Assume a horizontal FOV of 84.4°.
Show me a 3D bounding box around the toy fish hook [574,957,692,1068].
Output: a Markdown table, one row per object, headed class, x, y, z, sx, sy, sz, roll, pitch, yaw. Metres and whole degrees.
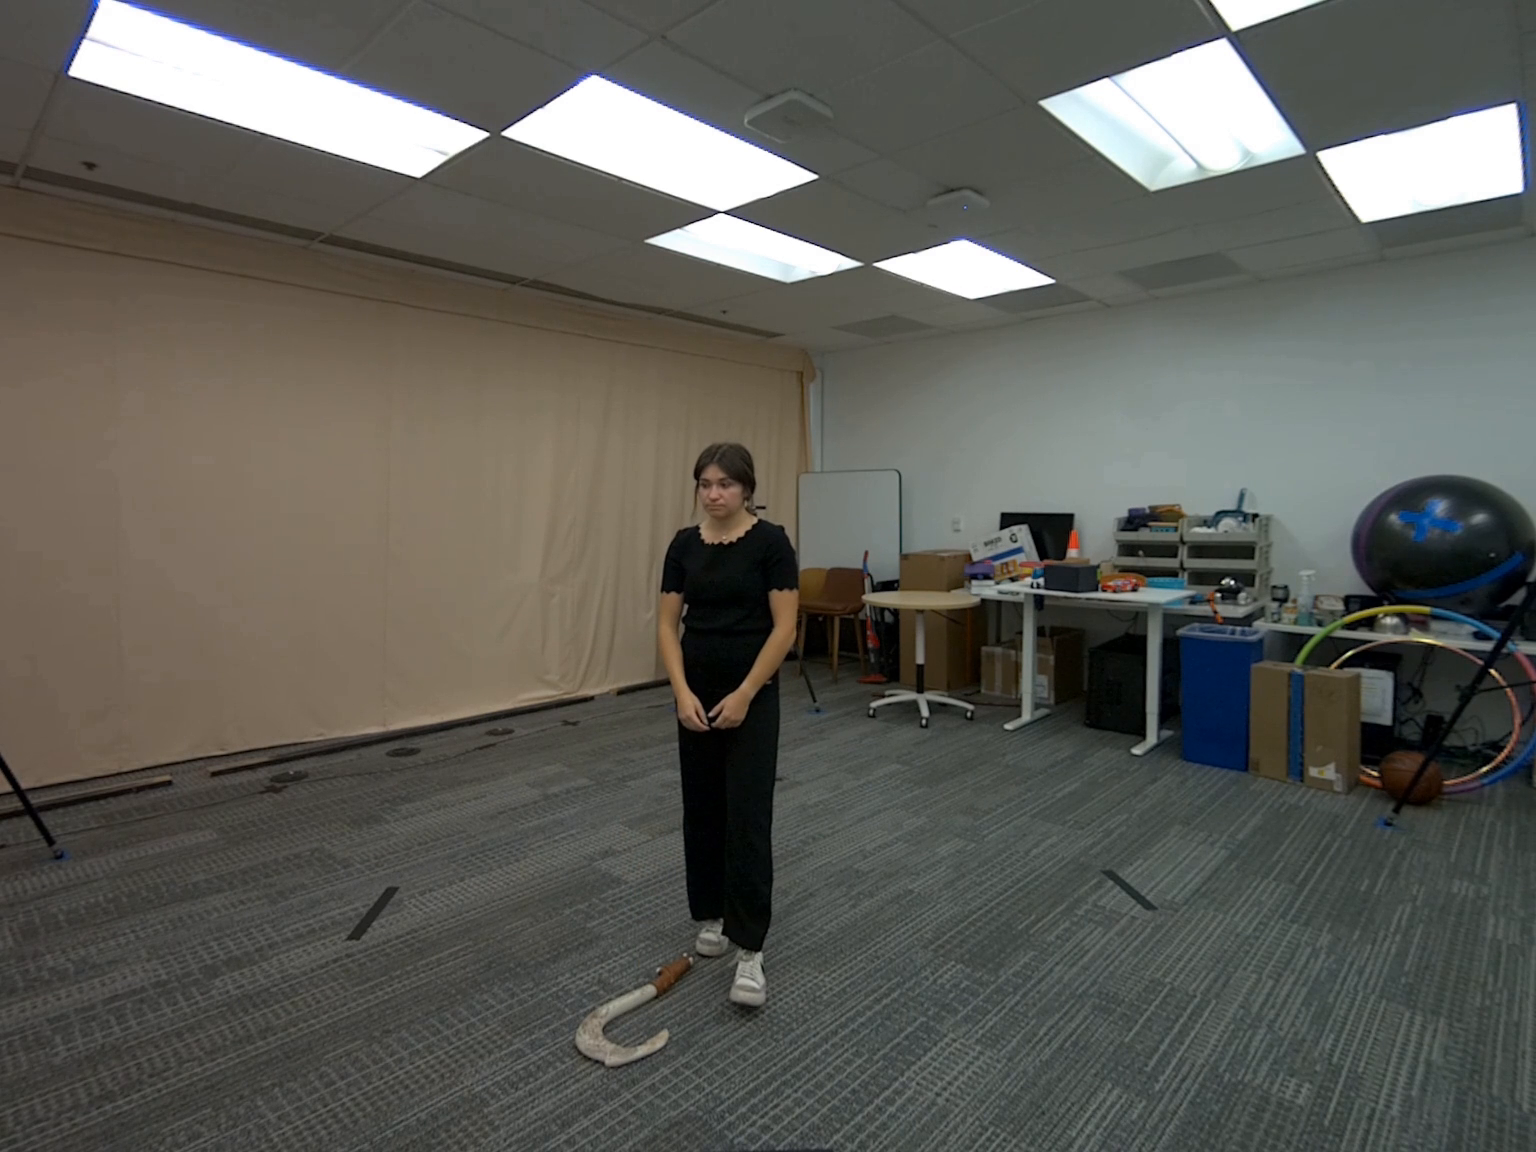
| class | x | y | z | sx | sy | sz | roll | pitch | yaw |
| --- | --- | --- | --- | --- | --- | --- | --- | --- | --- |
| toy fish hook | -0.307 | 1.183 | 2.318 | 0.231 | 0.048 | 0.494 | 11 | 10 | 28 |
